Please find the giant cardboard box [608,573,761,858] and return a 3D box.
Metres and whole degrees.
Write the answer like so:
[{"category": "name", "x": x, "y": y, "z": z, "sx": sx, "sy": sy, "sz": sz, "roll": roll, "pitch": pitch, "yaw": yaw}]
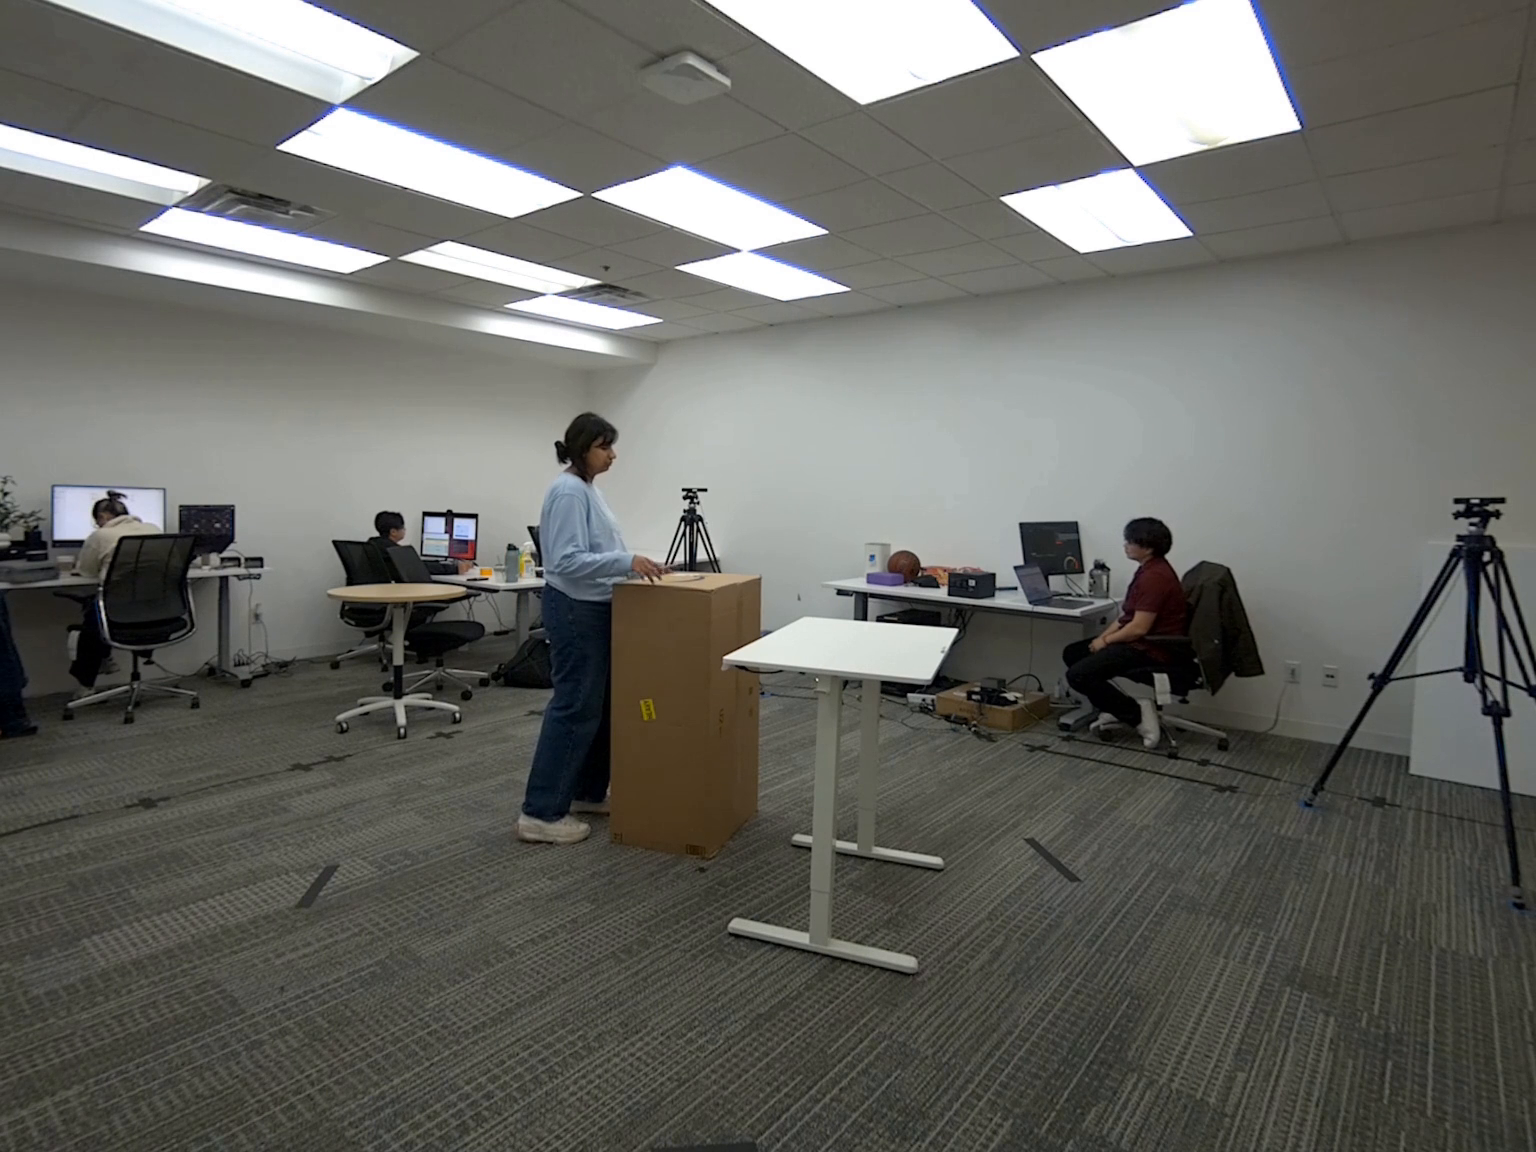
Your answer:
[{"category": "giant cardboard box", "x": -0.330, "y": 0.522, "z": 3.502, "sx": 0.436, "sy": 1.023, "sz": 0.567, "roll": 2, "pitch": 4, "yaw": 20}]
